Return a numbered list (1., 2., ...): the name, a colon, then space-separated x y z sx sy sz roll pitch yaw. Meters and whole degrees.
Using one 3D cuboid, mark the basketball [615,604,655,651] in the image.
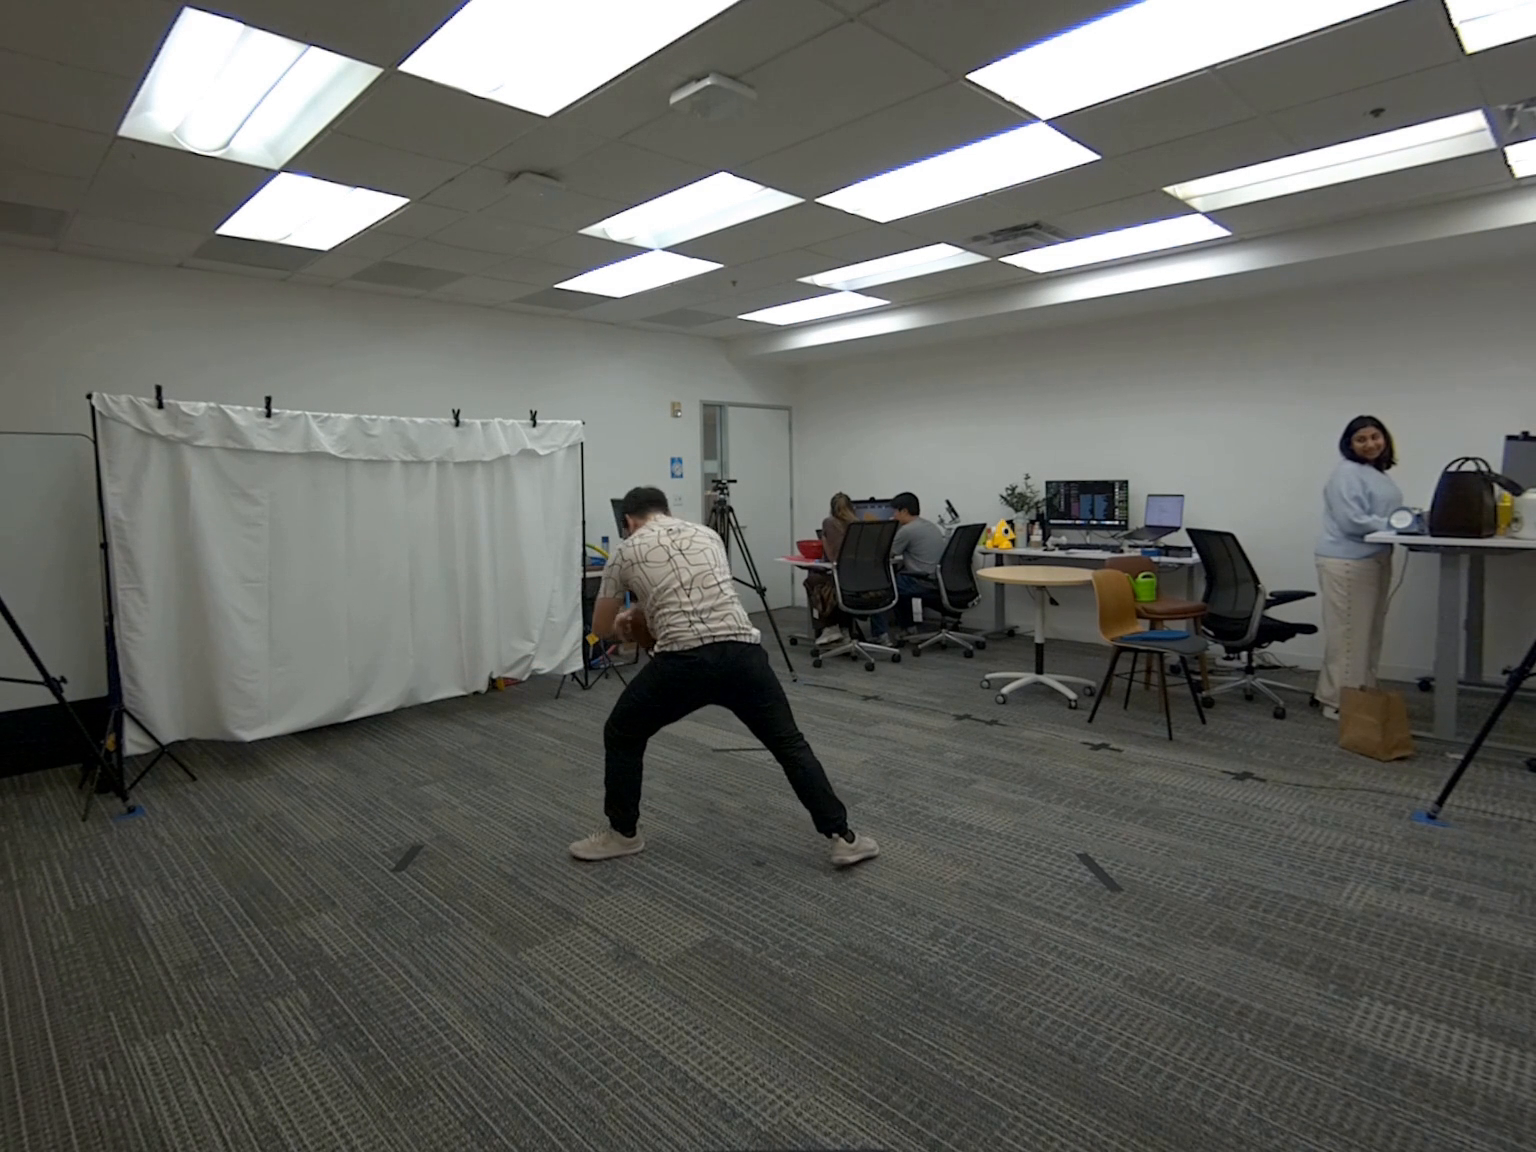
1. basketball: -0.572 0.199 3.530 0.236 0.235 0.237 -1 5 -2
